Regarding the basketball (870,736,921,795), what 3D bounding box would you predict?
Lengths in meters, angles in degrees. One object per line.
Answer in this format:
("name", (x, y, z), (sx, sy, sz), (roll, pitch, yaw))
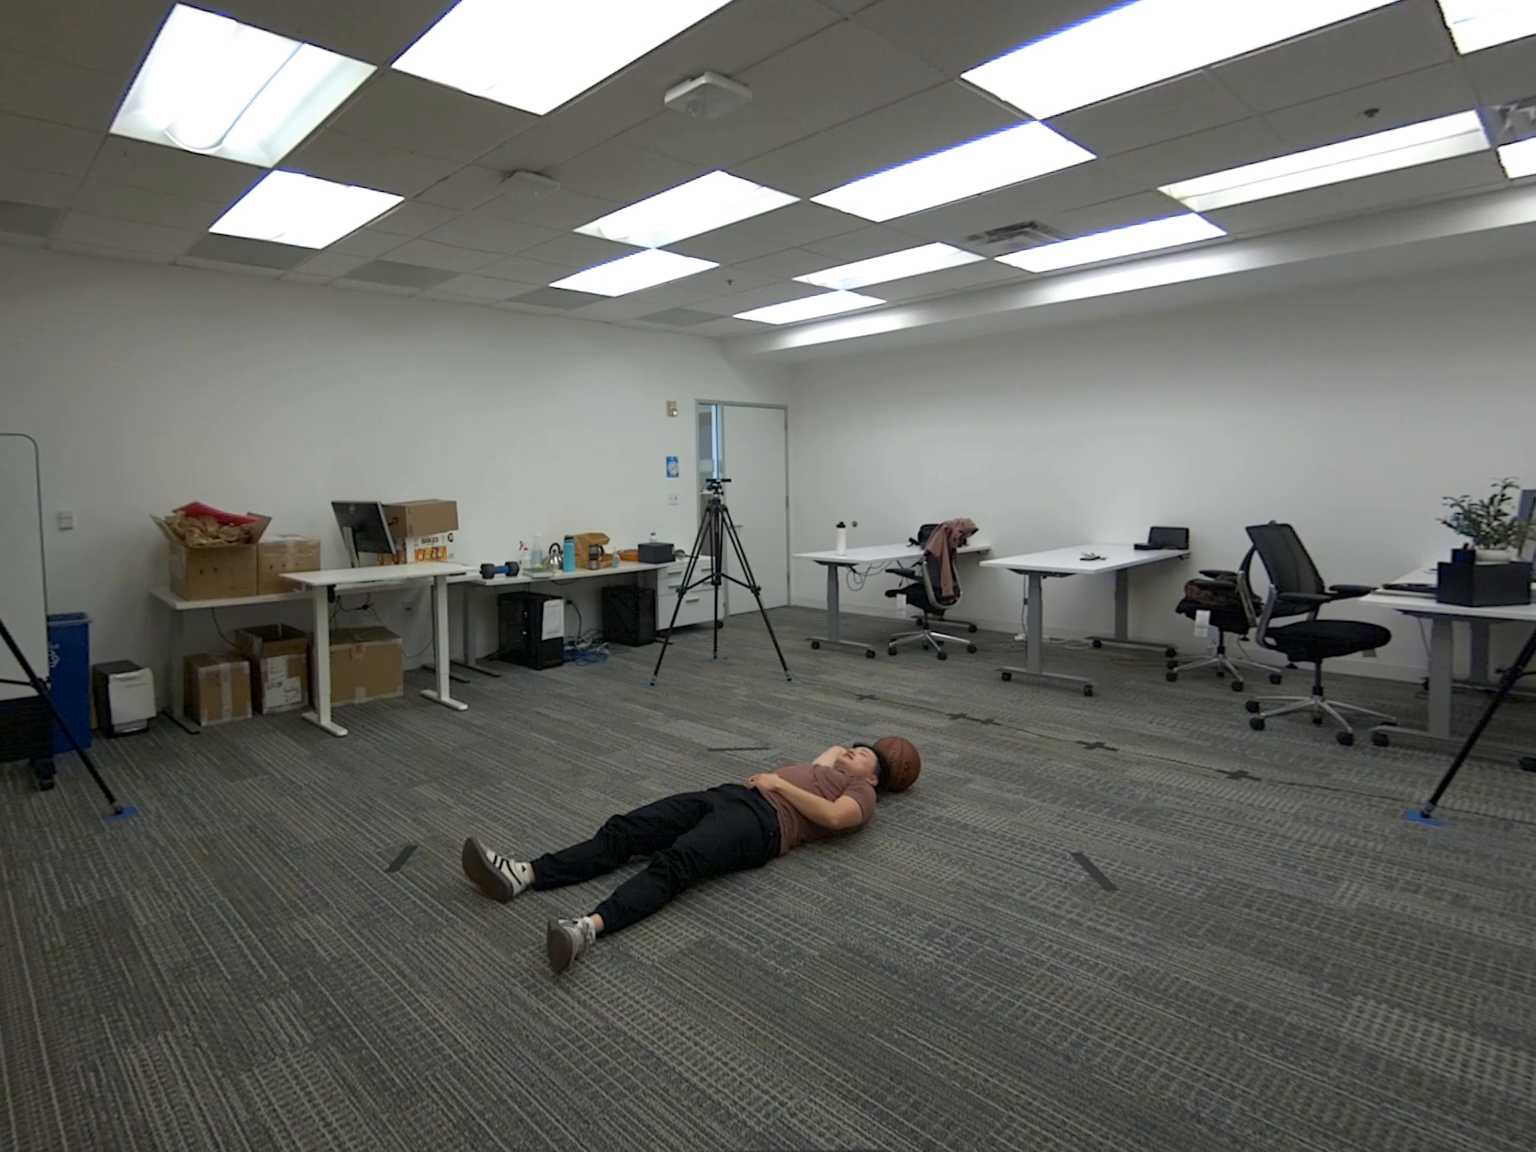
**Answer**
("basketball", (0.561, 0.835, 3.820), (0.236, 0.235, 0.237), (-2, 5, -2))
